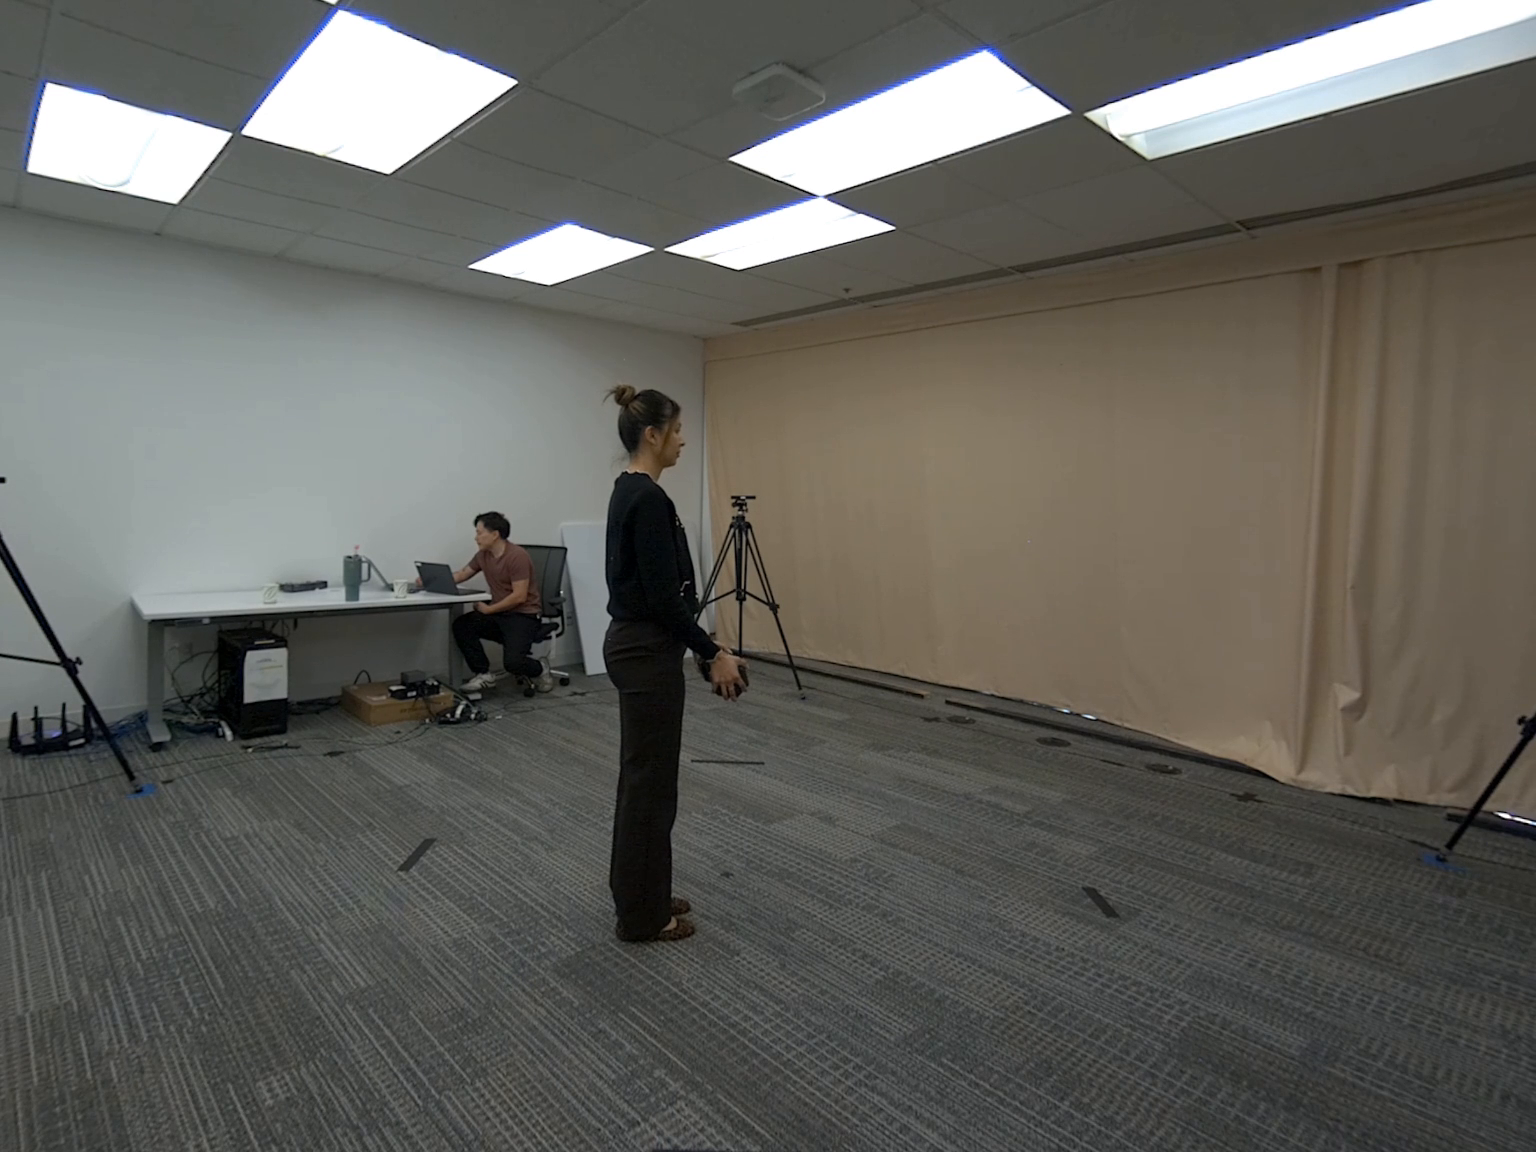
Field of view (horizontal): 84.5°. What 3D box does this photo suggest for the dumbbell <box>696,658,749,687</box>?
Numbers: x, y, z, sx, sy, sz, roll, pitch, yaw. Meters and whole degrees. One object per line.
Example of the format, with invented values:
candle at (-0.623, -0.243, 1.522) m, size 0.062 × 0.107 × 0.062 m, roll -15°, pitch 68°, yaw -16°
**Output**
dumbbell at (-0.151, 0.309, 2.735) m, size 0.108 × 0.122 × 0.296 m, roll -12°, pitch 6°, yaw -8°
